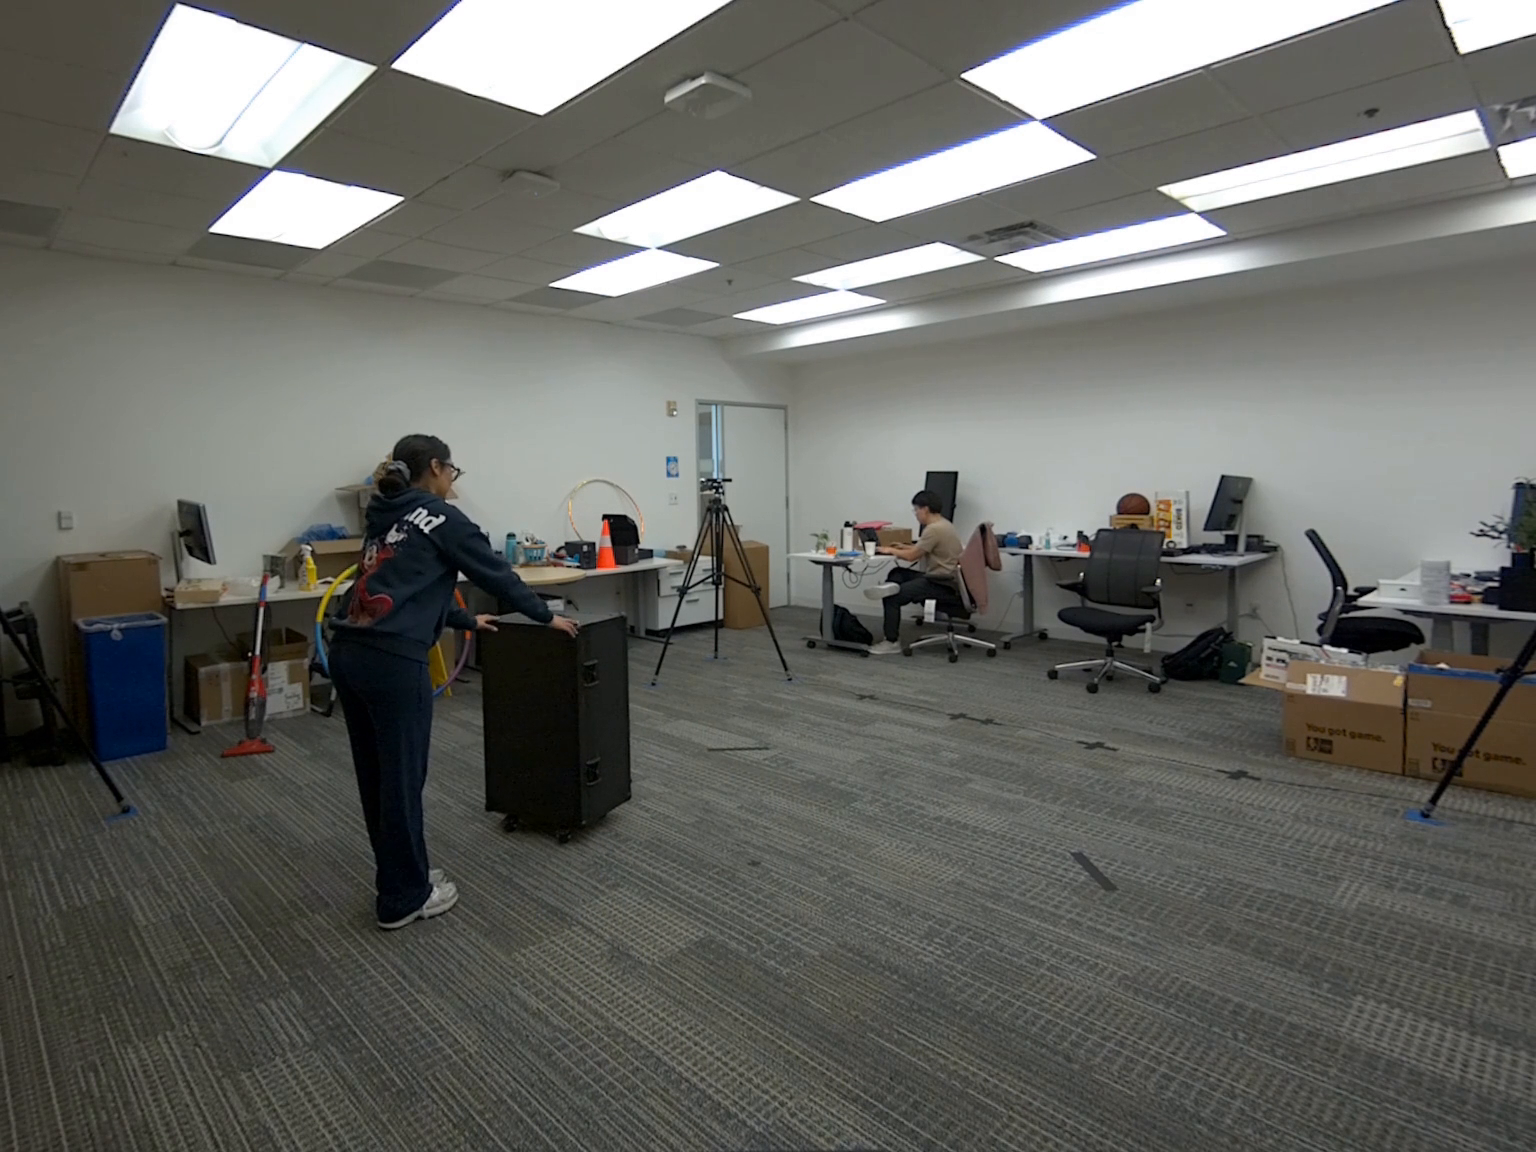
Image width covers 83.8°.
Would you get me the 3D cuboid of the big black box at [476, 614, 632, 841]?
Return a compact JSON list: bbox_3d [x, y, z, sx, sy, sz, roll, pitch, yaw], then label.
[{"bbox_3d":[-0.865,0.589,3.518,0.534,0.860,0.388,1,3,26],"label":"big black box"}]
